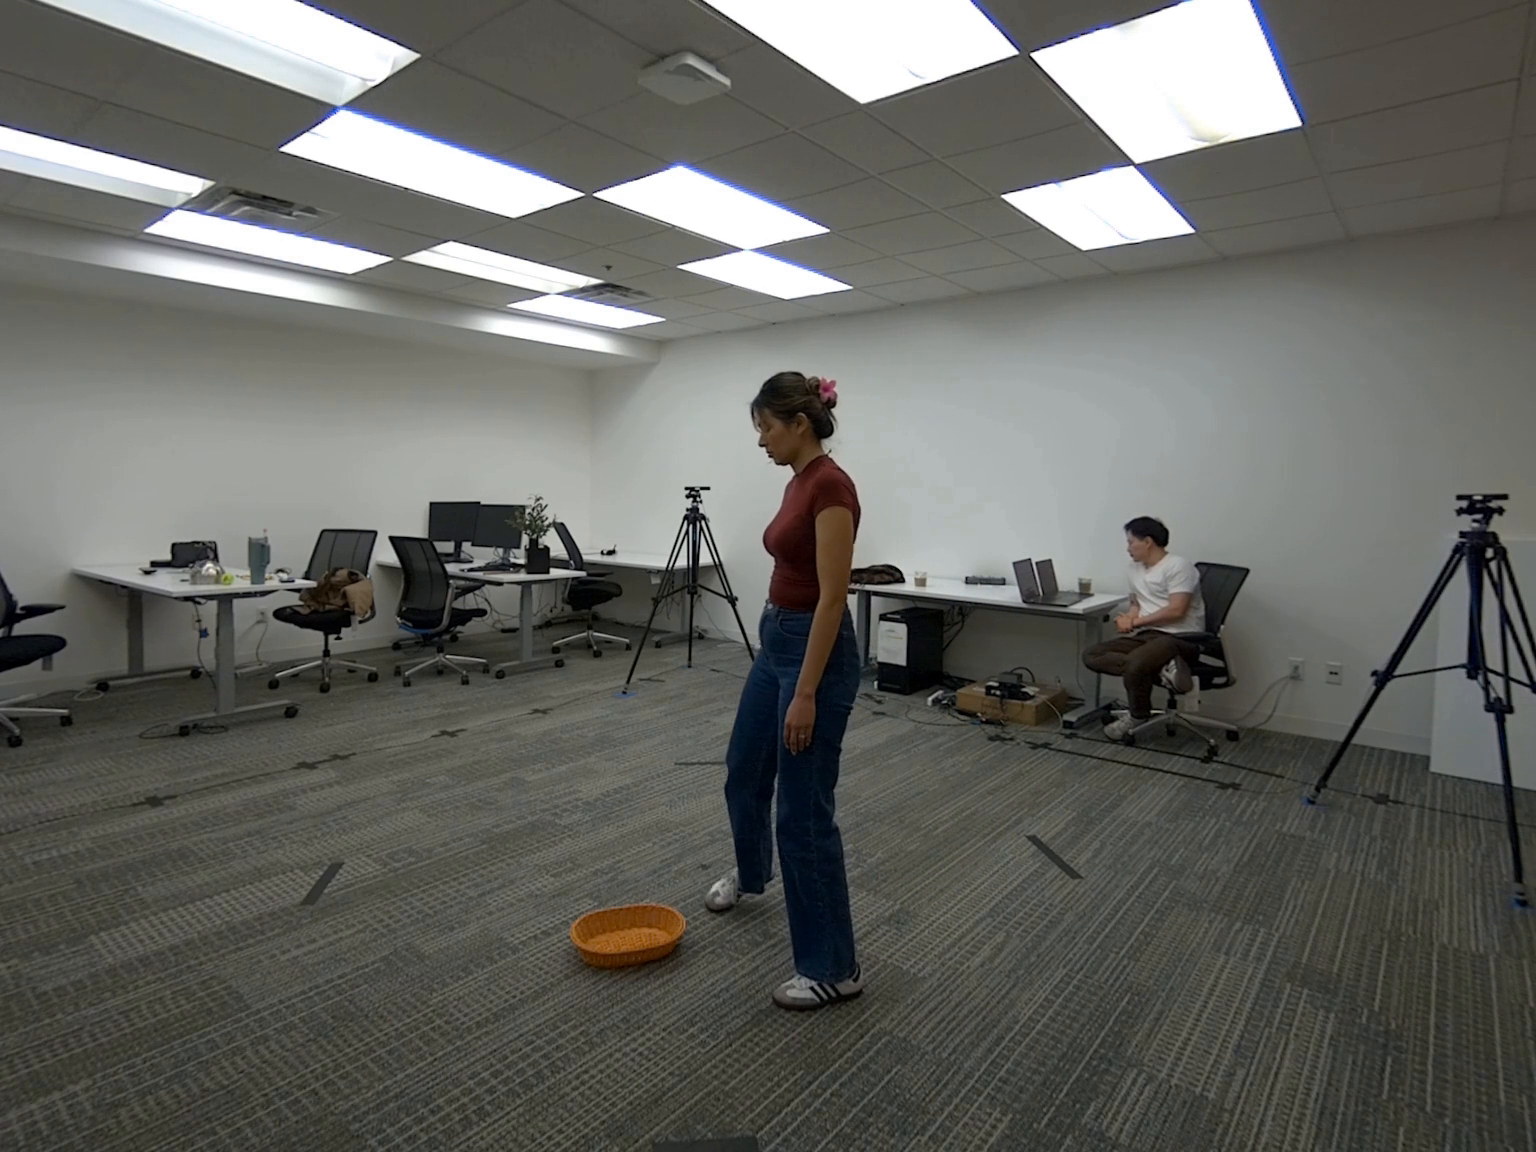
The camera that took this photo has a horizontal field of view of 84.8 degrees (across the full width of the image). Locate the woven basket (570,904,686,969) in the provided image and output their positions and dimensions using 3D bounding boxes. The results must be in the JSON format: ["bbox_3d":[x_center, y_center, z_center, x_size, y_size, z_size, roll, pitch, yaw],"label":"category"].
[{"bbox_3d":[-0.424,1.079,2.547,0.344,0.073,0.258,-1,7,-17],"label":"woven basket"}]
